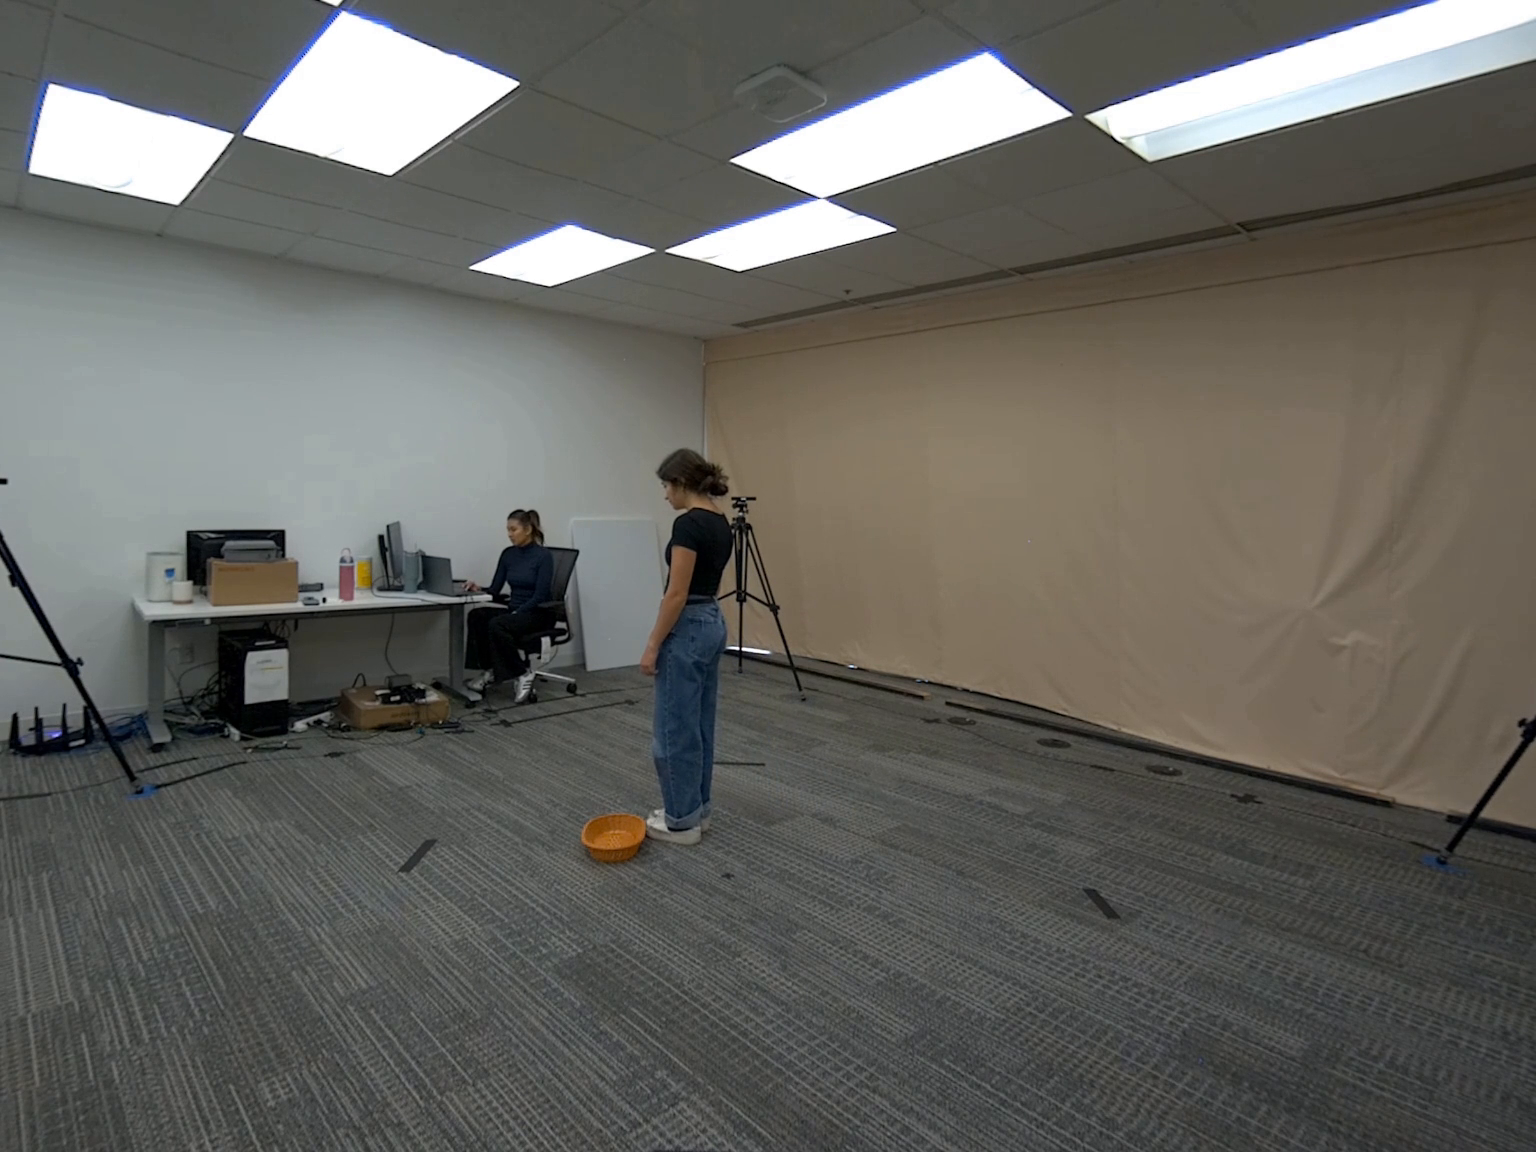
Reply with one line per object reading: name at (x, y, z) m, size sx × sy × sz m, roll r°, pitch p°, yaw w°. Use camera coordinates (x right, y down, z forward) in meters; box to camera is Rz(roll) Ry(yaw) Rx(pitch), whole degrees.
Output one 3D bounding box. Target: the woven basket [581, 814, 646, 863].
woven basket at (-0.617, 1.036, 3.326) m, size 0.252 × 0.073 × 0.352 m, roll 0°, pitch 6°, yaw -3°
